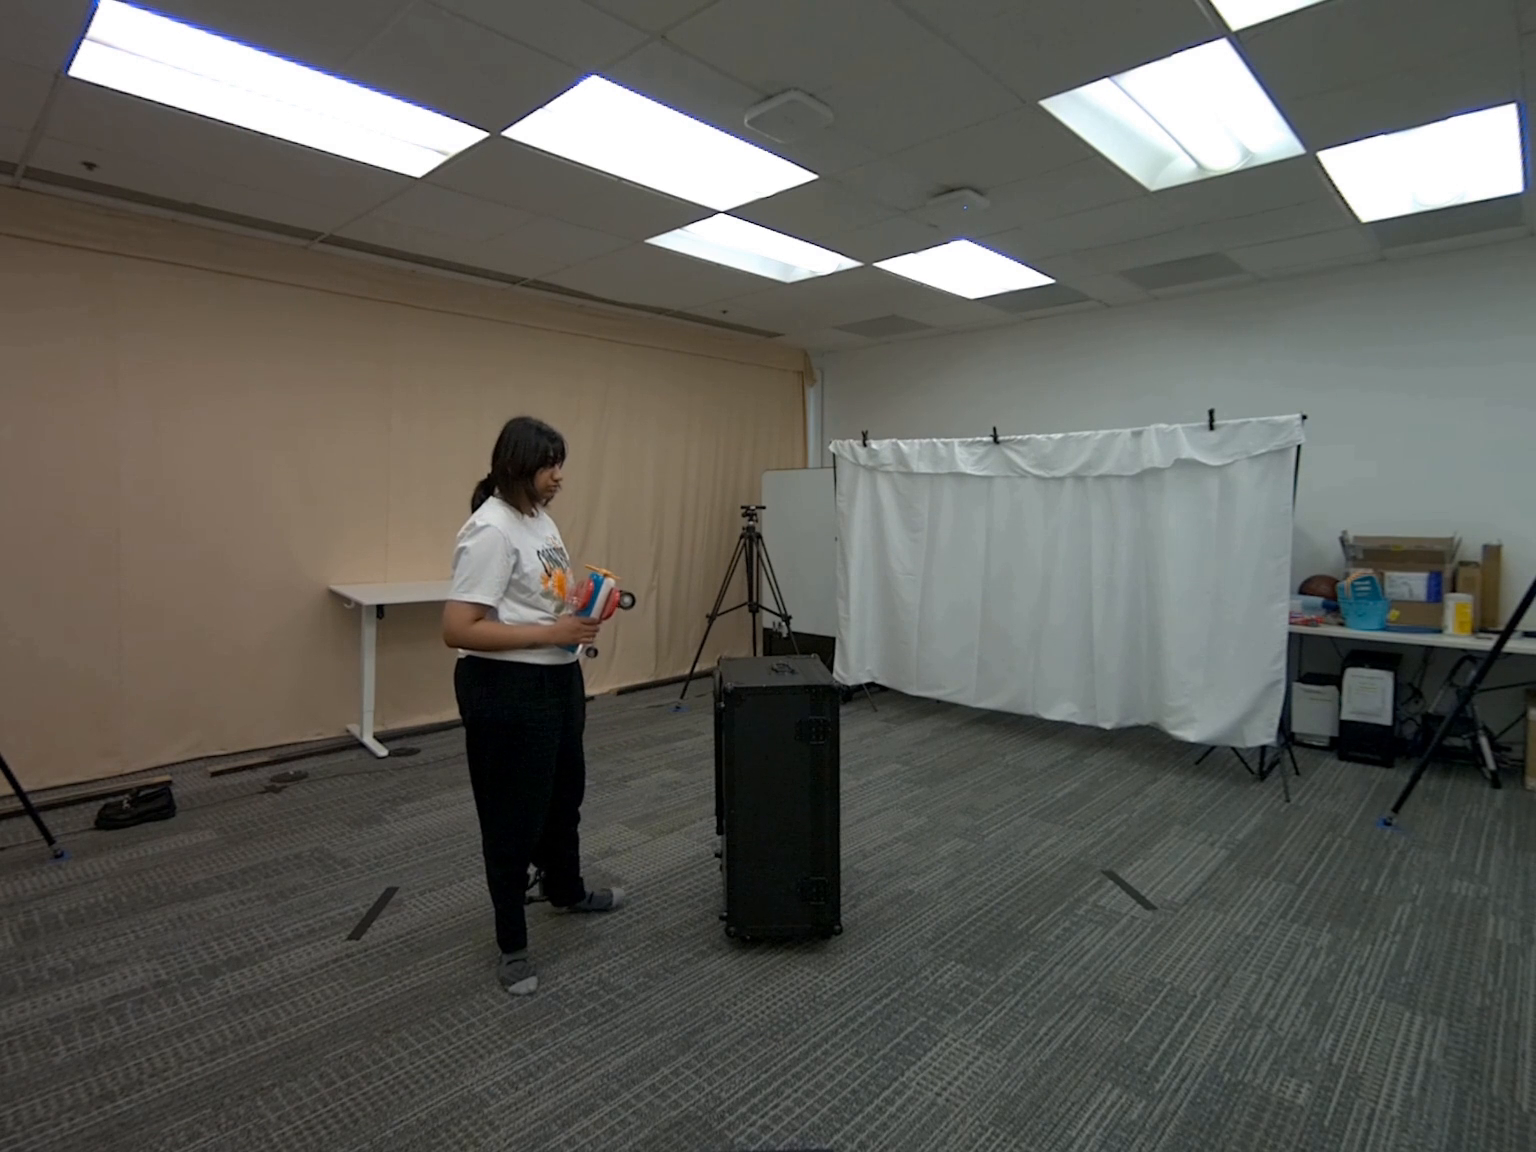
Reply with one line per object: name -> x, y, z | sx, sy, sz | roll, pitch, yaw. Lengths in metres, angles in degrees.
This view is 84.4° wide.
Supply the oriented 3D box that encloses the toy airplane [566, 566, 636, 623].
toy airplane -> -0.497, 0.108, 2.432 | 0.154, 0.259, 0.254 | 37, -37, -14
